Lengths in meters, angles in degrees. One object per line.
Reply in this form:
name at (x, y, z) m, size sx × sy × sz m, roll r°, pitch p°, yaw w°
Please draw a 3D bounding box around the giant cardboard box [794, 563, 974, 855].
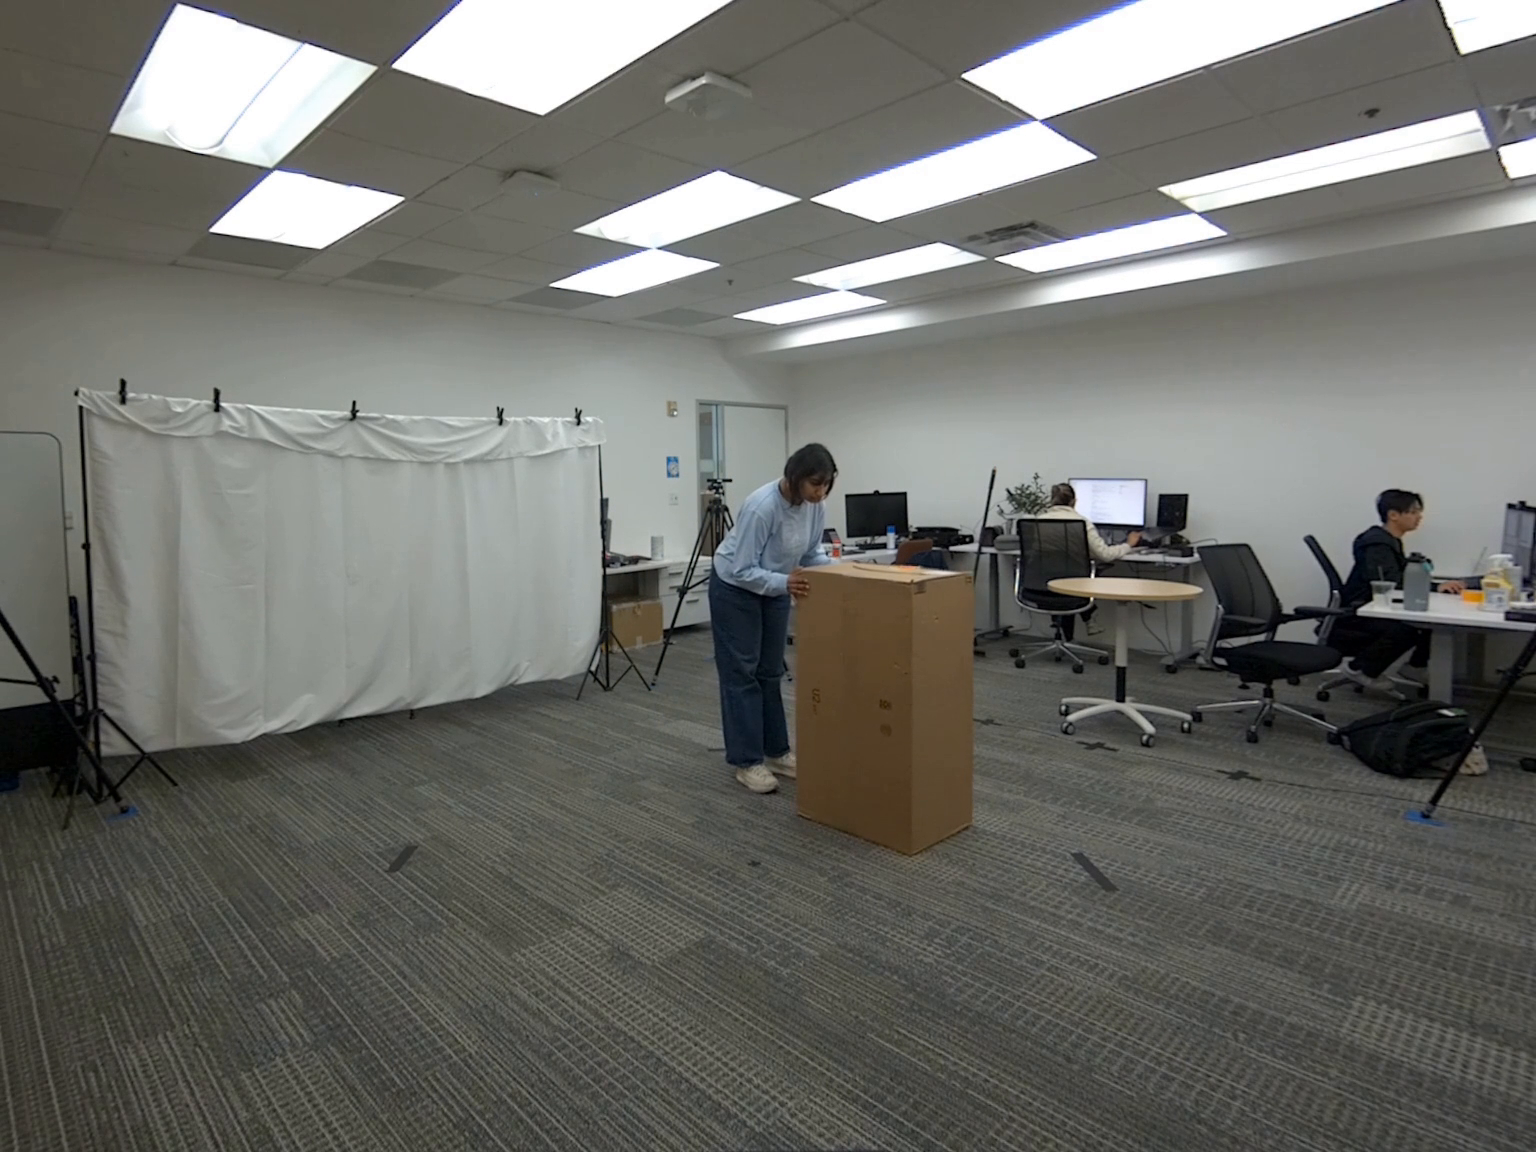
giant cardboard box at (0.470, 0.491, 3.458) m, size 0.415 × 1.022 × 0.595 m, roll -4°, pitch 6°, yaw -45°
